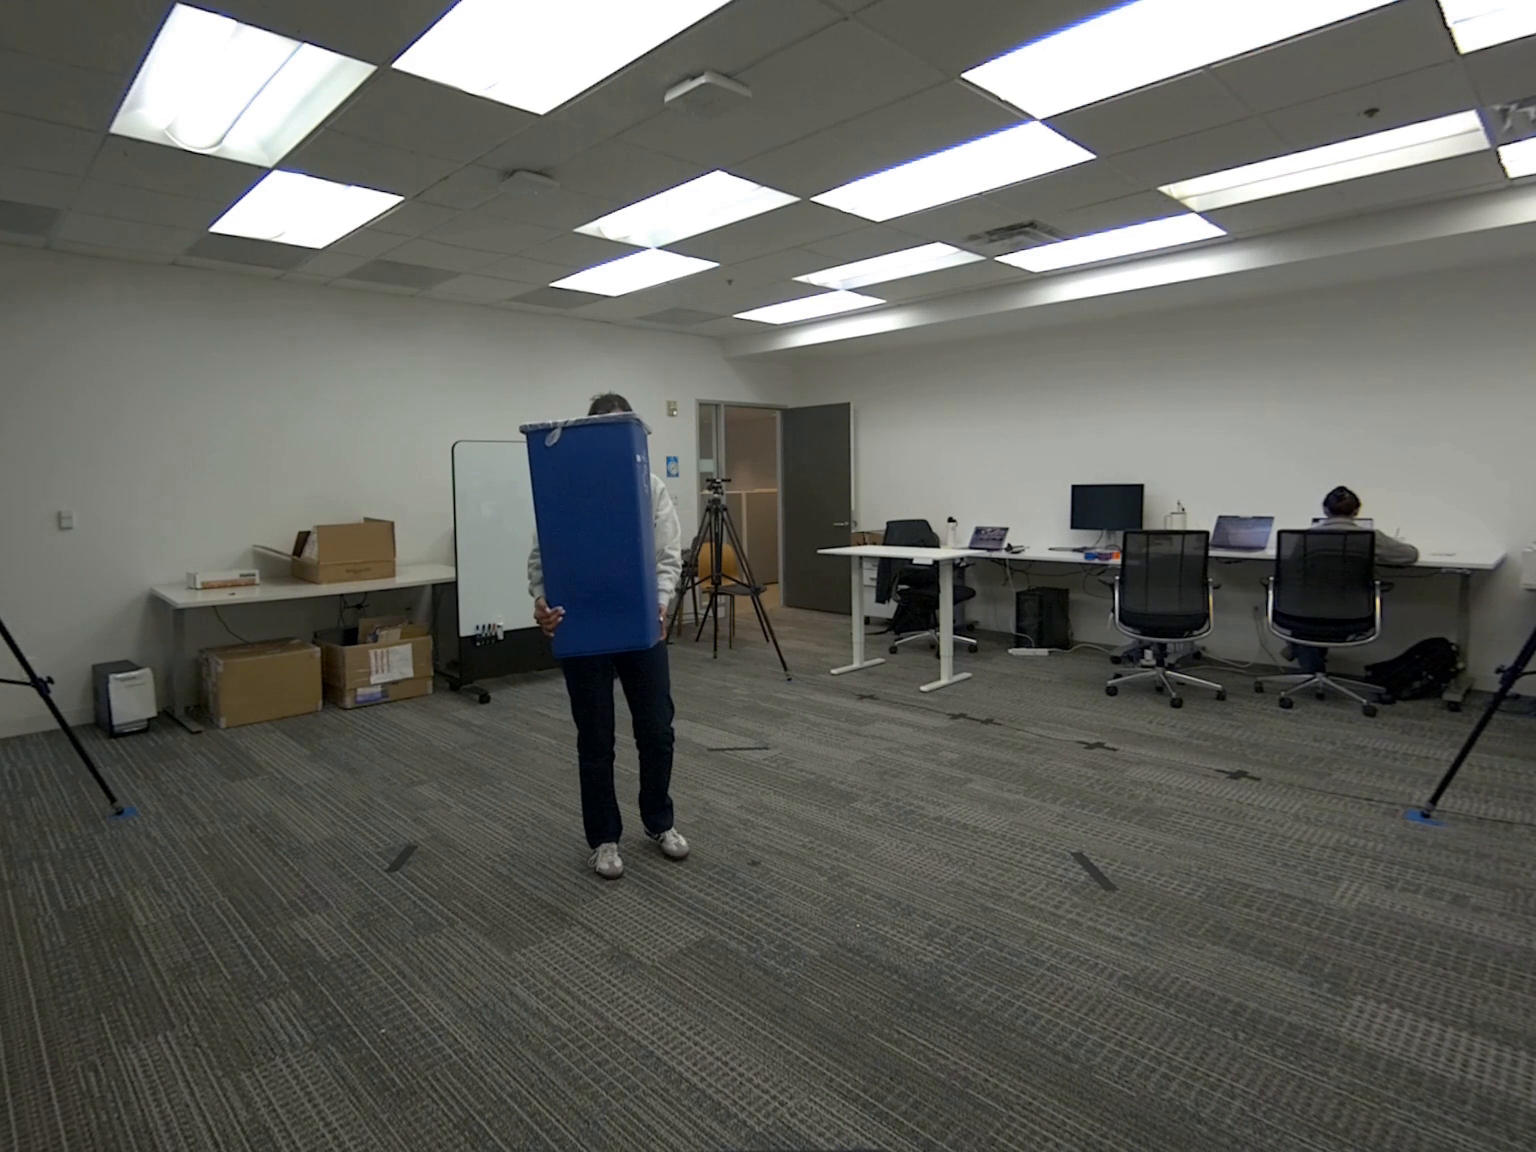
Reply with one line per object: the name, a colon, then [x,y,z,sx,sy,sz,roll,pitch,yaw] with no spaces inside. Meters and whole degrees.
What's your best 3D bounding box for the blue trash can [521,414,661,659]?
blue trash can: [-0.543,-0.131,2.740,0.379,0.714,0.373,-5,0,2]
